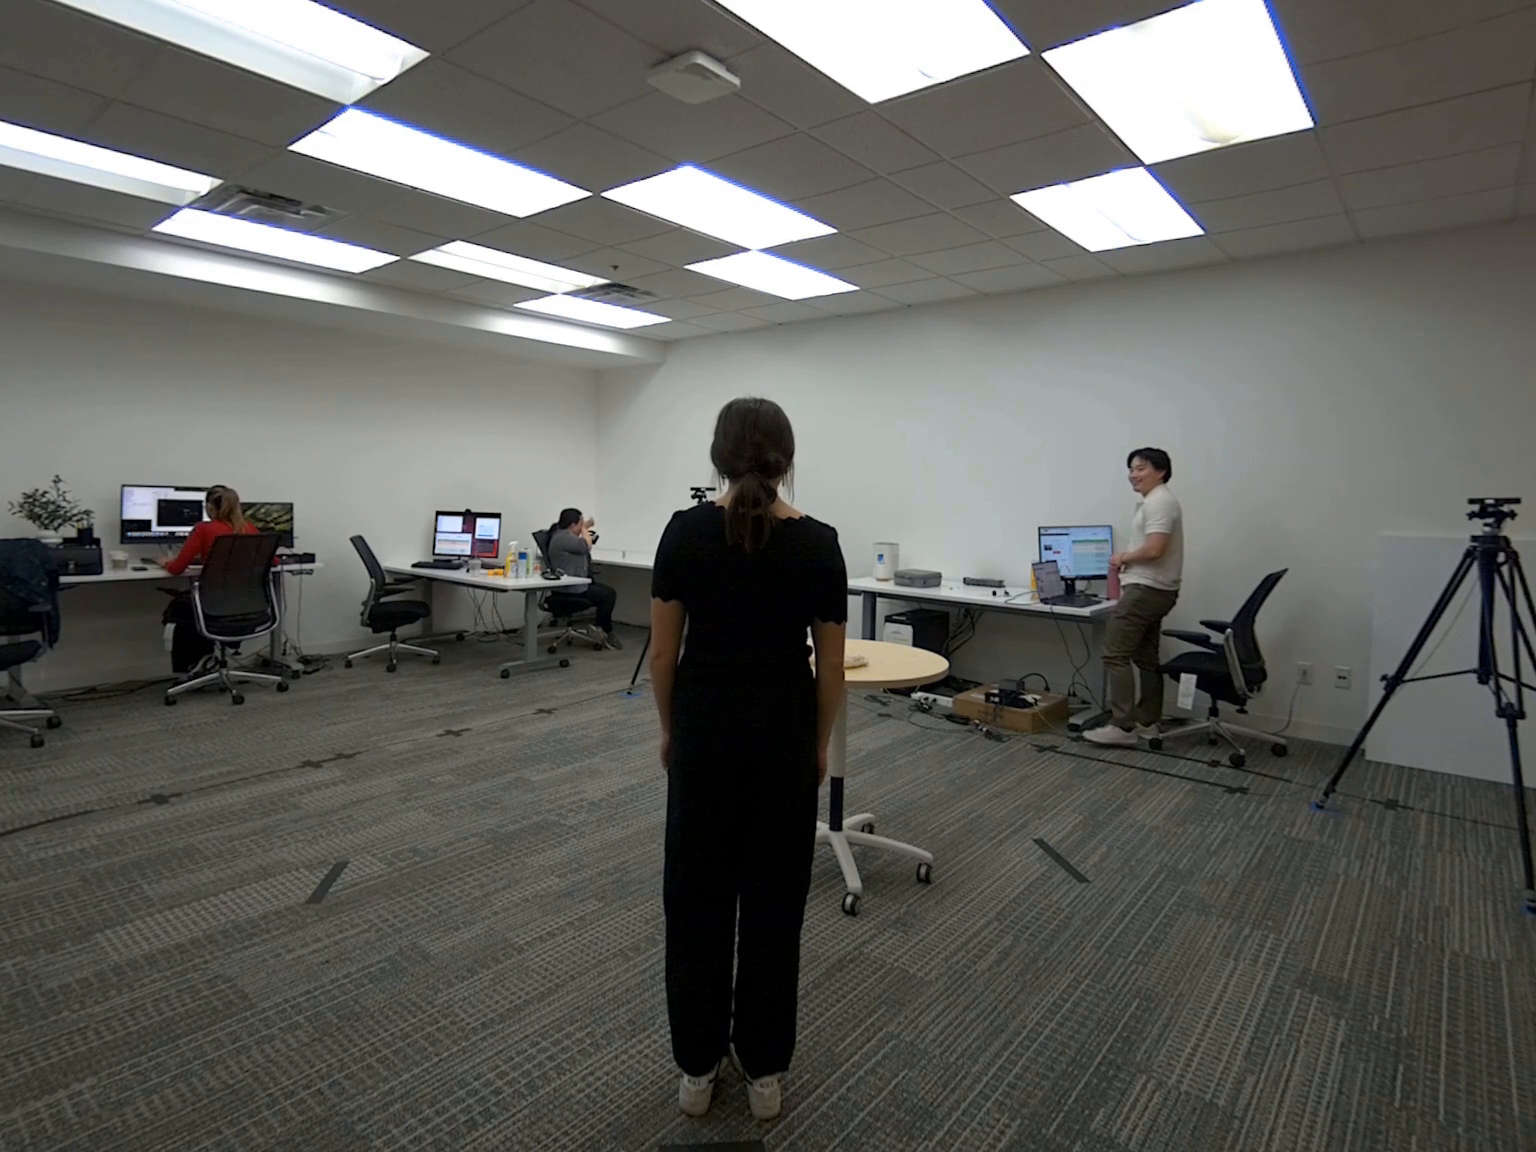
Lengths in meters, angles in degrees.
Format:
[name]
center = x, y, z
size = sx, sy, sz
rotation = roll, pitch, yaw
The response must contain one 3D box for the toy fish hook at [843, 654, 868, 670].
[toy fish hook]
center = 0.130, 0.283, 3.103
size = 0.217, 0.048, 0.524
rotation = 8, 0, -42
